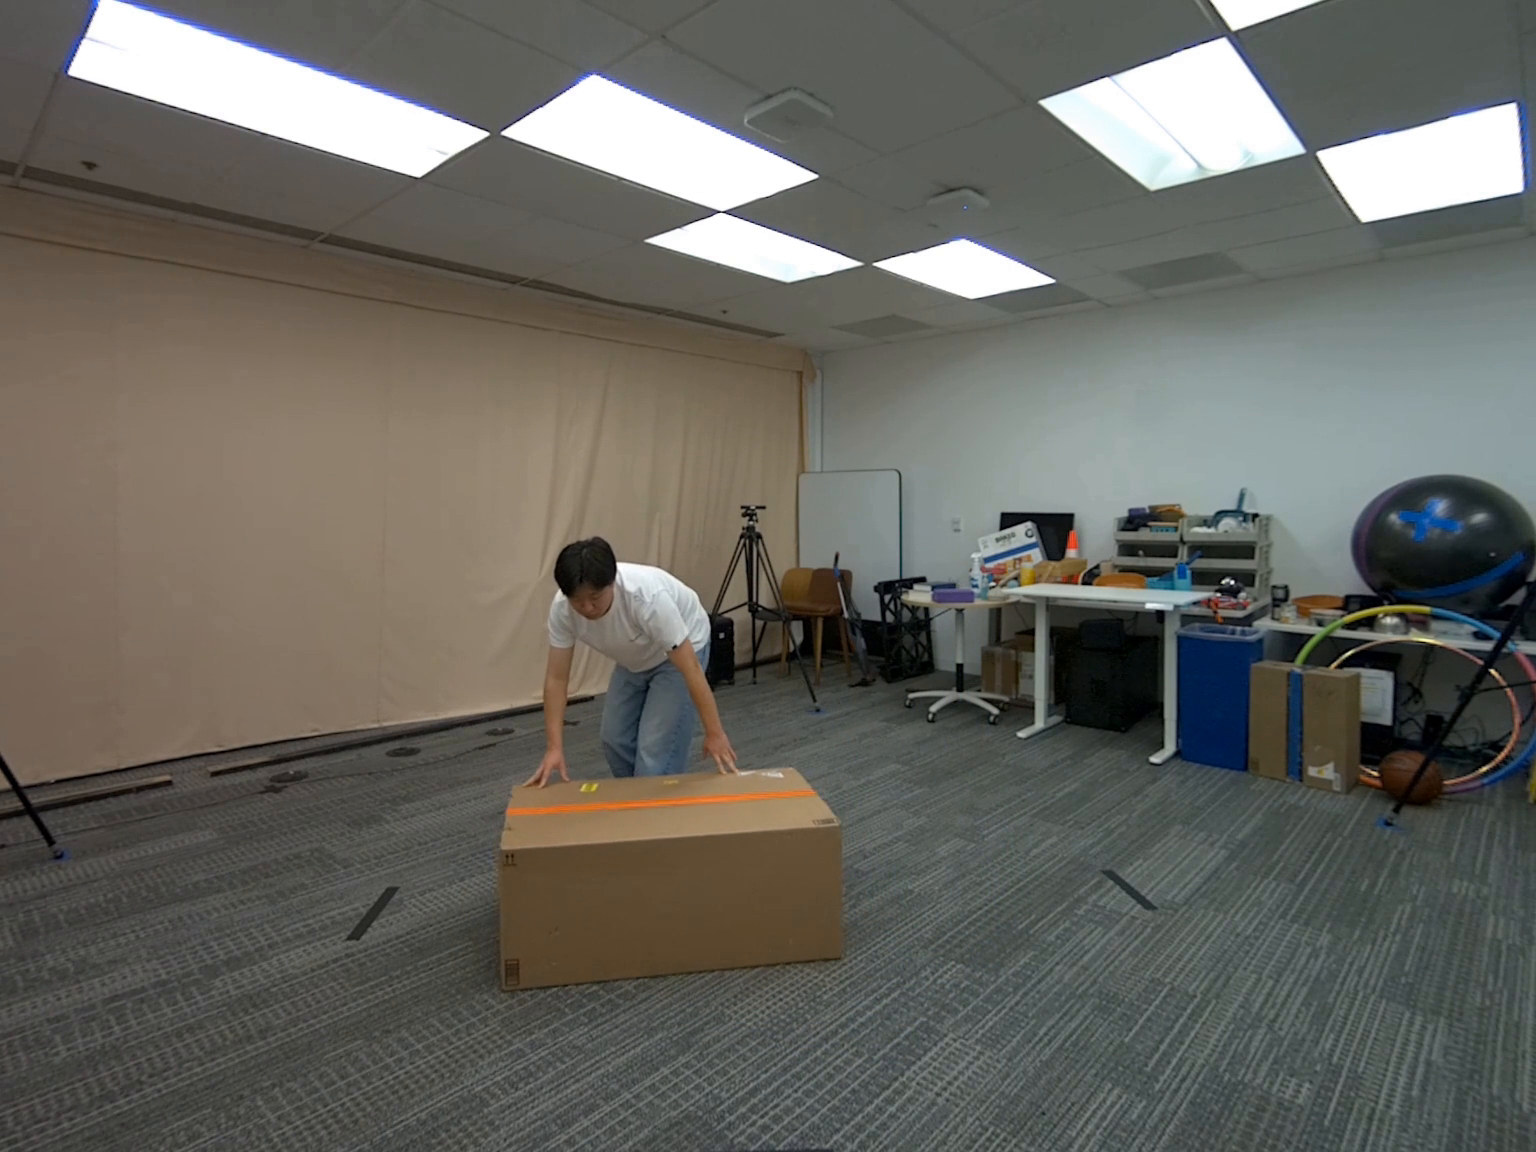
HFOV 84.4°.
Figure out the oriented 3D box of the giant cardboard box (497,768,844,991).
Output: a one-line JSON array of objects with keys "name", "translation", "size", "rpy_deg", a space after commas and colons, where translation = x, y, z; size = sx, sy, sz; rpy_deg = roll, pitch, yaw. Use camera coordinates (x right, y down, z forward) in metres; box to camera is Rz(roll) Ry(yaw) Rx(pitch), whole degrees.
[{"name": "giant cardboard box", "translation": [-0.328, 0.949, 2.759], "size": [1.014, 0.425, 0.585], "rpy_deg": [-2, 3, -11]}]
